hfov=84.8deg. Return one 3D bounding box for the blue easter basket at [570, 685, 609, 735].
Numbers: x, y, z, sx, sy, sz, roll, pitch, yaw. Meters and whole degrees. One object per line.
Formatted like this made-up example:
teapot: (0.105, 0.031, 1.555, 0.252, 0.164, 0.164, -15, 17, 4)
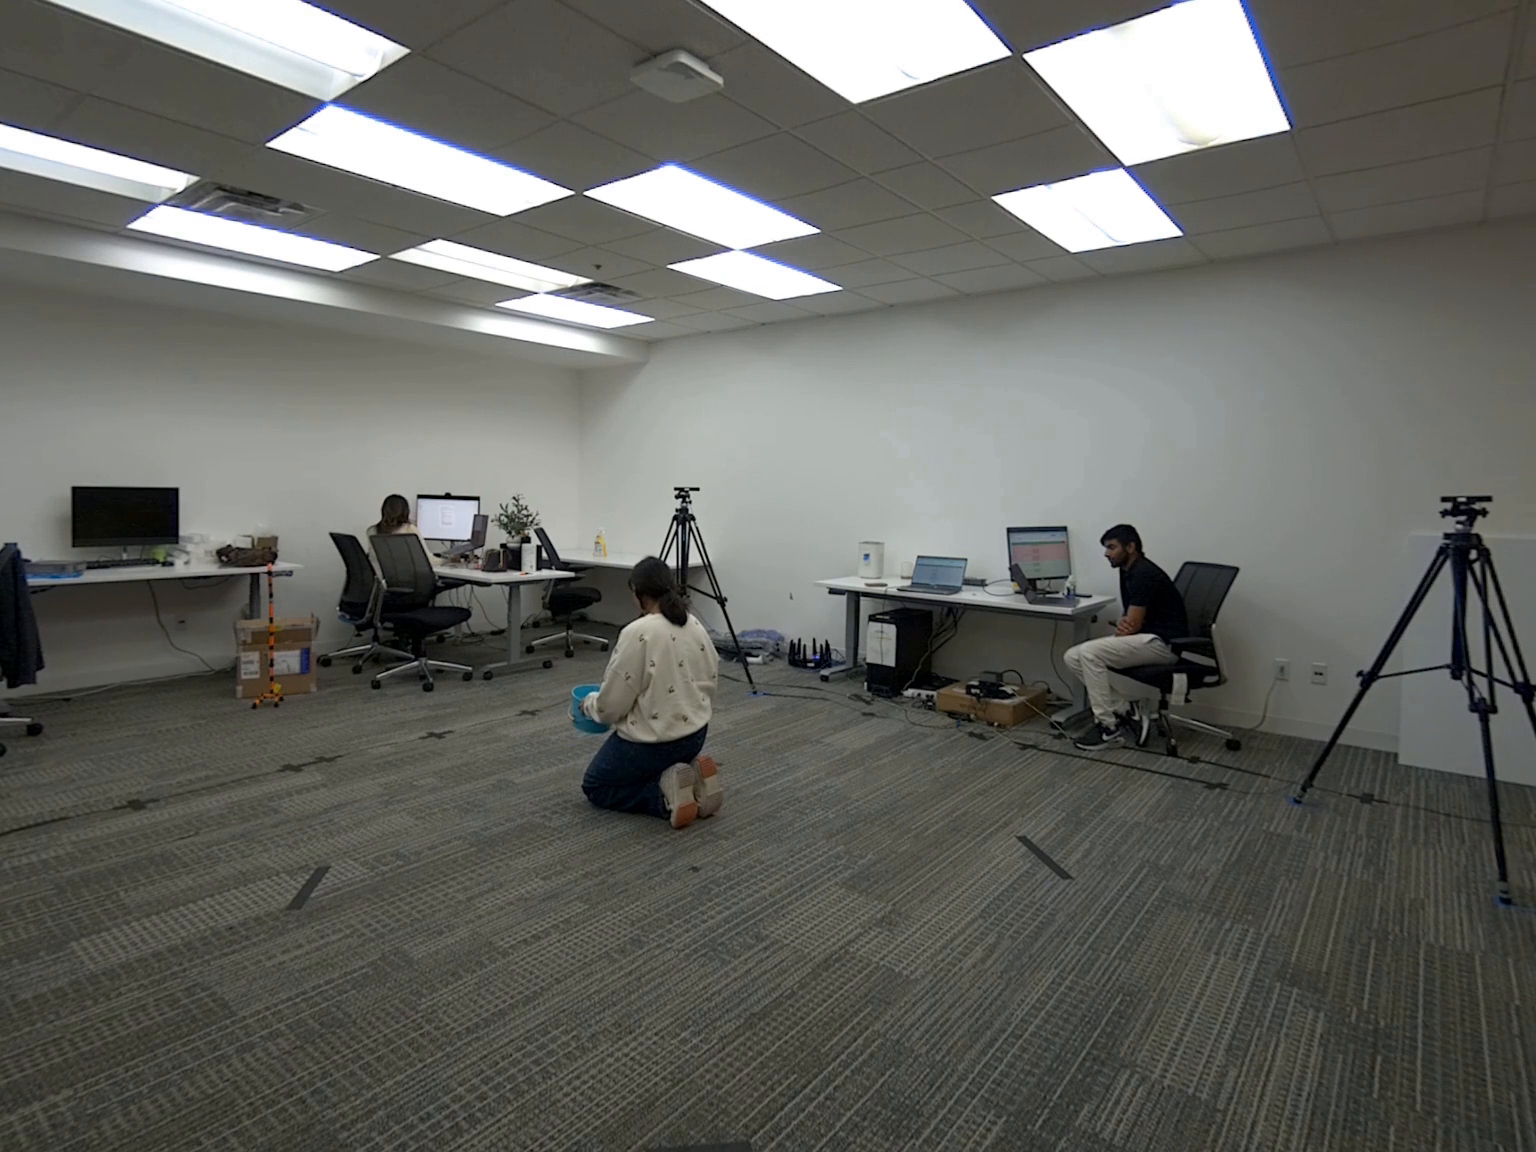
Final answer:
blue easter basket: (-0.823, 0.614, 3.947, 0.243, 0.155, 0.246, 11, 11, -4)
